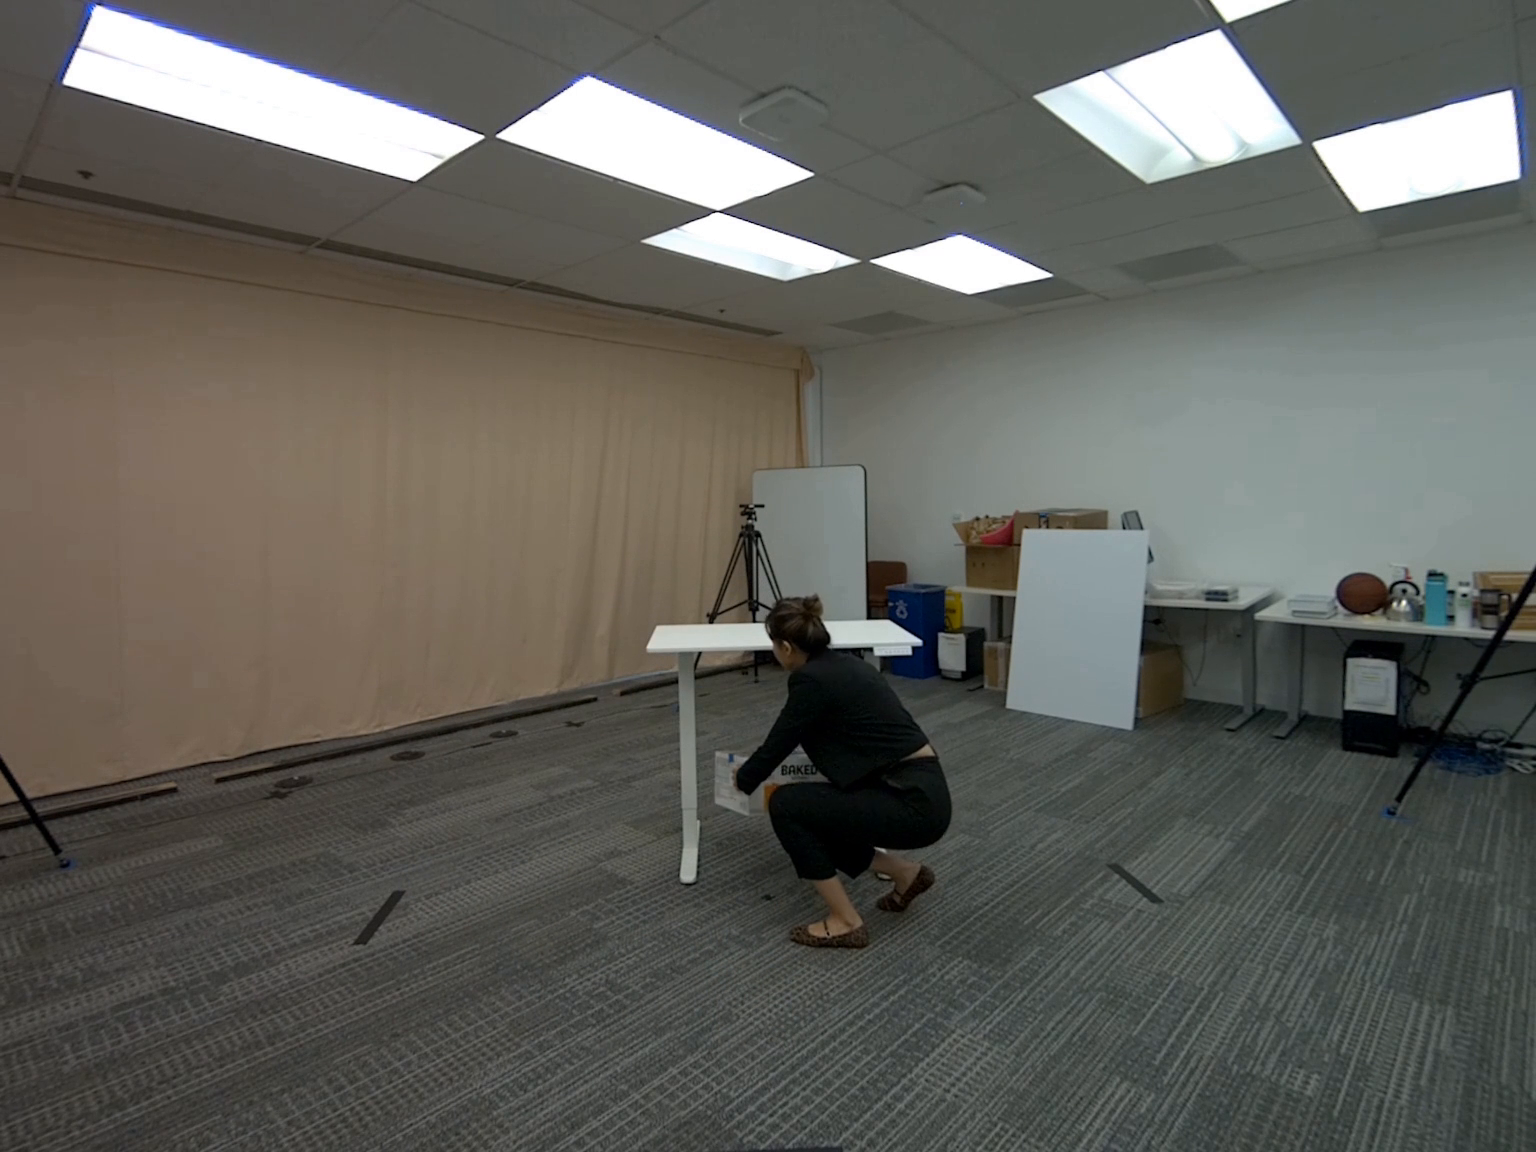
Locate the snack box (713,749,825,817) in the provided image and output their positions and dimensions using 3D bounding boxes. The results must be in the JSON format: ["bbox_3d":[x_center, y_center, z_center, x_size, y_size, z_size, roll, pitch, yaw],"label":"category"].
[{"bbox_3d":[0.043,0.783,3.193,0.396,0.207,0.346,4,-9,-23],"label":"snack box"}]
